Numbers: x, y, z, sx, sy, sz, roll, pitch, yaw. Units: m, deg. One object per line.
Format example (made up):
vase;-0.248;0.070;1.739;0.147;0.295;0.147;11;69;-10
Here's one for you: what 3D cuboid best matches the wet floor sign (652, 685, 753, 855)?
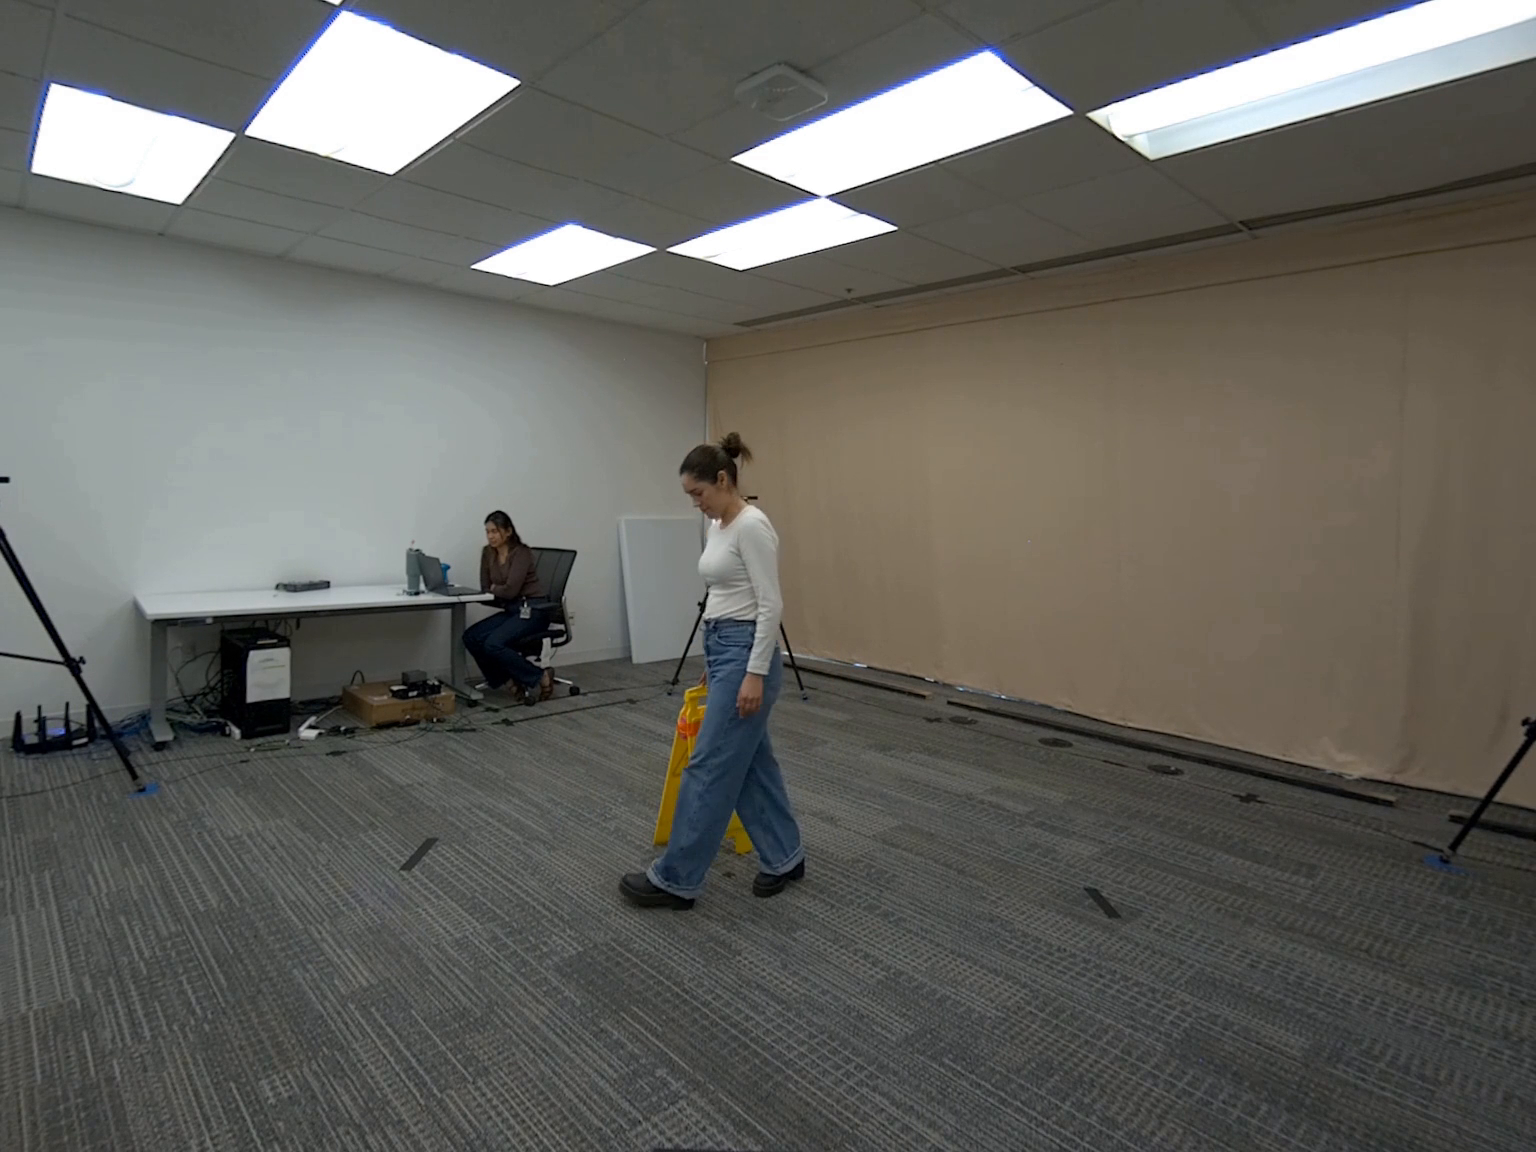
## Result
wet floor sign;-0.258;0.757;3.322;0.275;0.645;0.297;-1;3;-43
